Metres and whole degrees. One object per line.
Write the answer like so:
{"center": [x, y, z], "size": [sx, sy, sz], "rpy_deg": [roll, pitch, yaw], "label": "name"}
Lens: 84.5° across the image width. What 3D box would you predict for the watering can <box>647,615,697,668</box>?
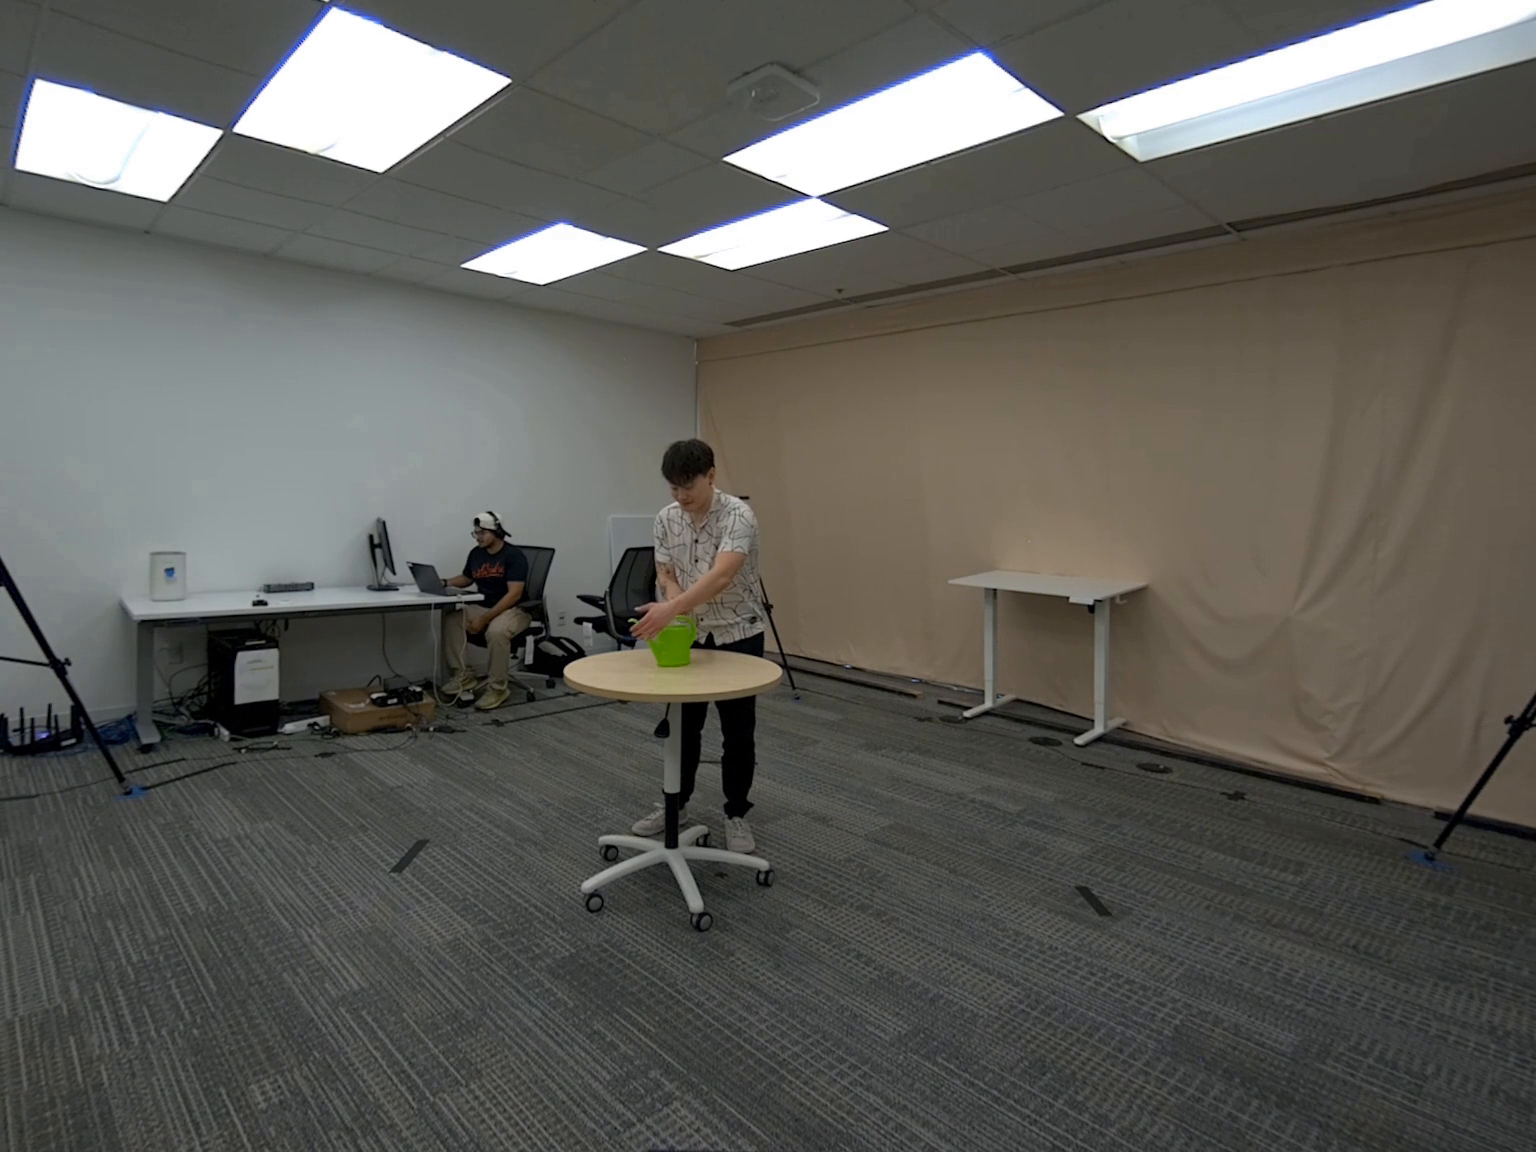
{"center": [-0.394, 0.234, 3.027], "size": [0.273, 0.177, 0.099], "rpy_deg": [2, 0, -22], "label": "watering can"}
